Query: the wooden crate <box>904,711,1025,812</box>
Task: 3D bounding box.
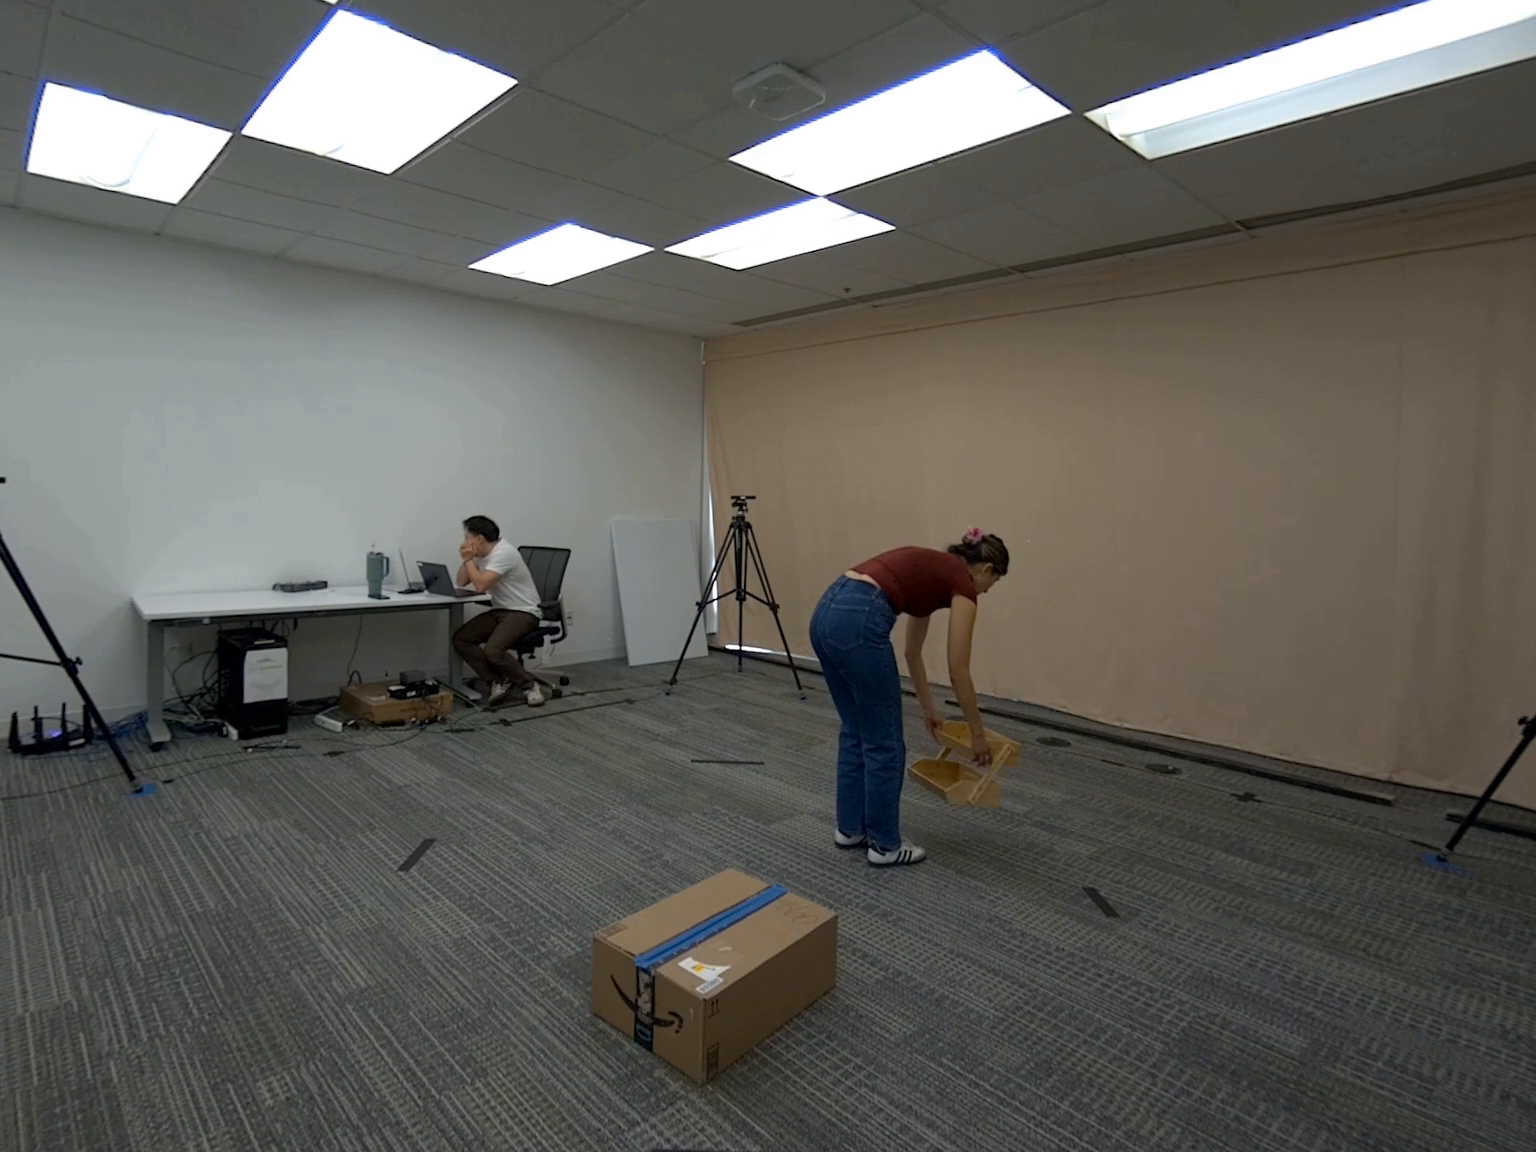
[{"bbox_3d":[0.776,0.736,3.401,0.297,0.273,0.330,11,2,-19],"label":"wooden crate"}]
